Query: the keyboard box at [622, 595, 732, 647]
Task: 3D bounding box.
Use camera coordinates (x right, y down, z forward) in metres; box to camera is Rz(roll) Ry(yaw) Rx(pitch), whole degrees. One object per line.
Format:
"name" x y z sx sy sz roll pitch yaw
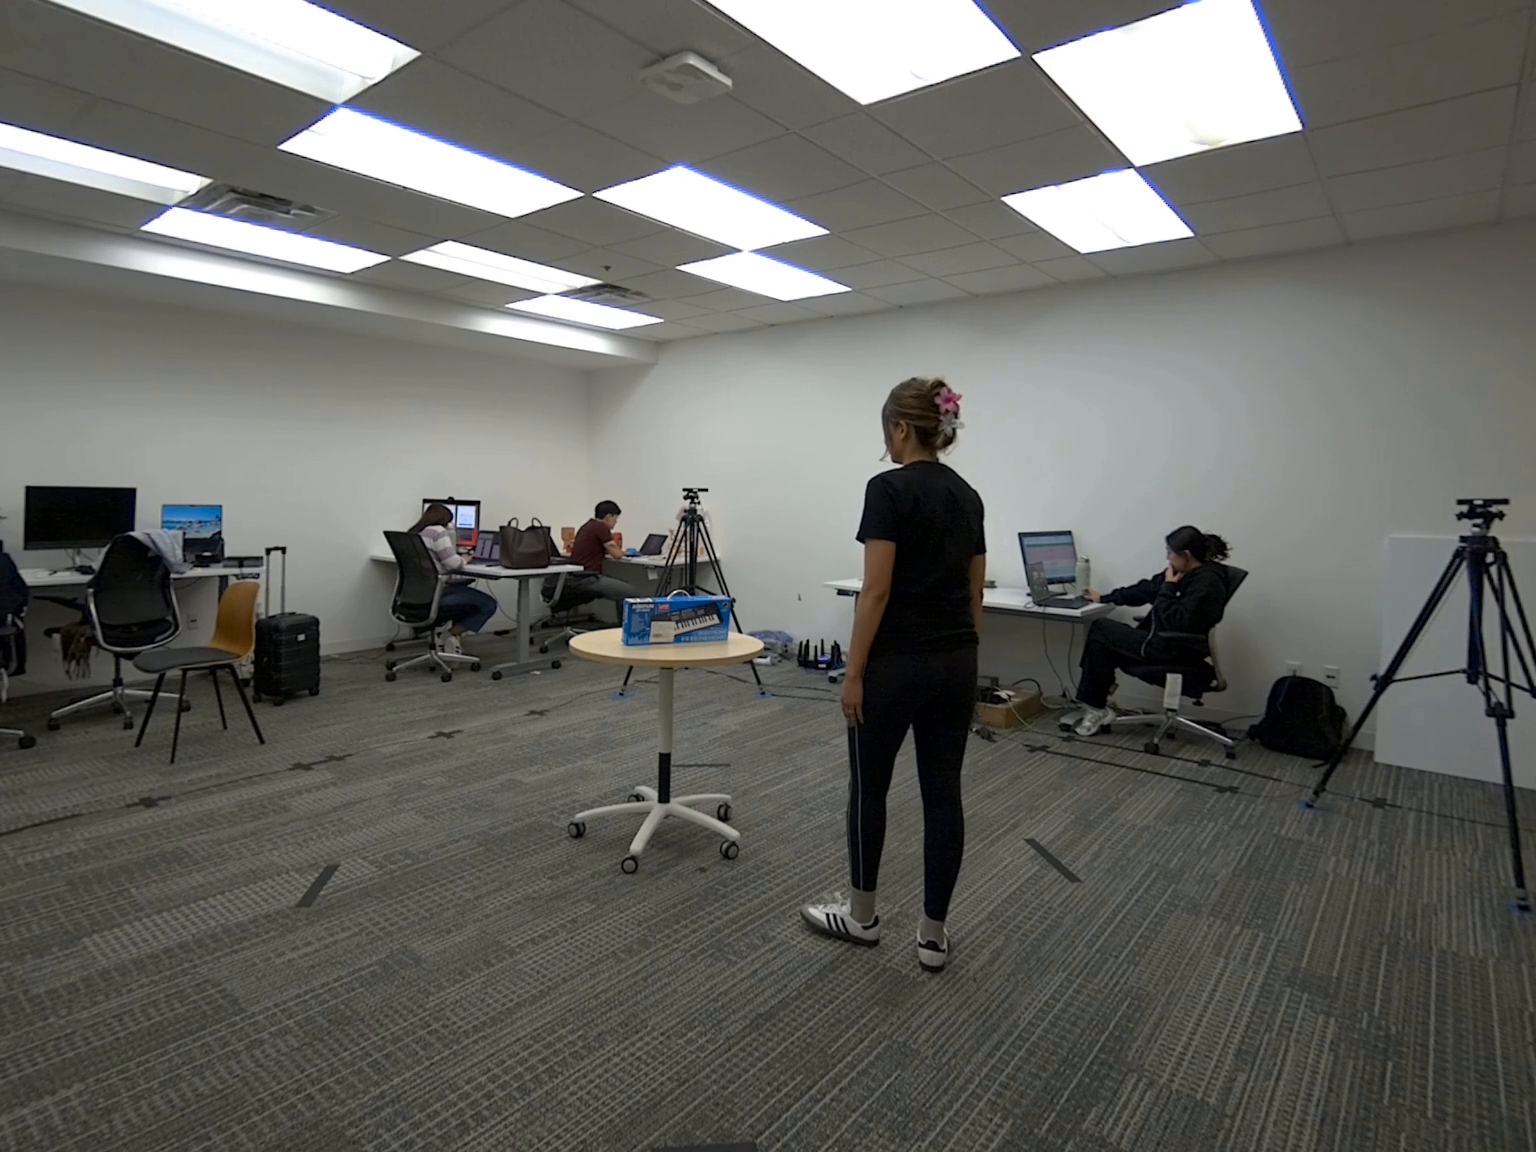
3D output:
"keyboard box" -0.372 0.173 3.350 0.426 0.174 0.061 -1 11 -27
